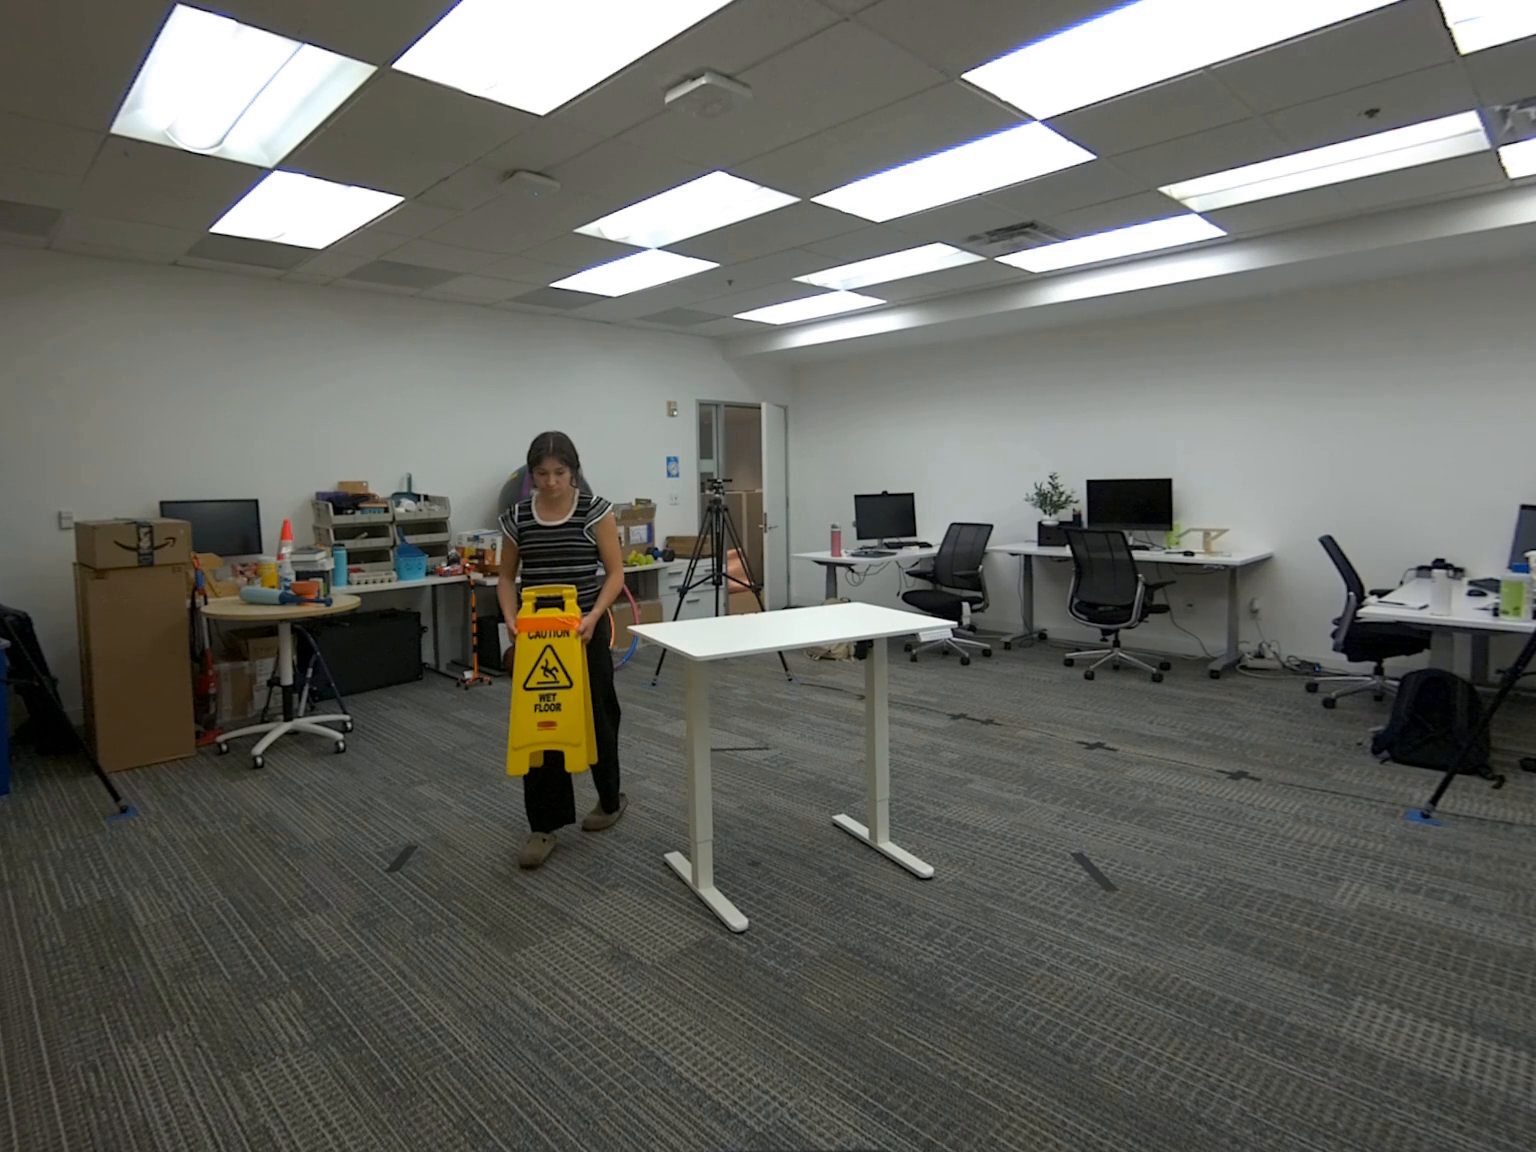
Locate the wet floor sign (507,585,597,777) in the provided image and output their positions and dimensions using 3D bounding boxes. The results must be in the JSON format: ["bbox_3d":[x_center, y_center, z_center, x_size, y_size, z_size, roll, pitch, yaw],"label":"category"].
[{"bbox_3d":[-0.771,0.371,3.073,0.282,0.651,0.288,-6,-7,-2],"label":"wet floor sign"}]
